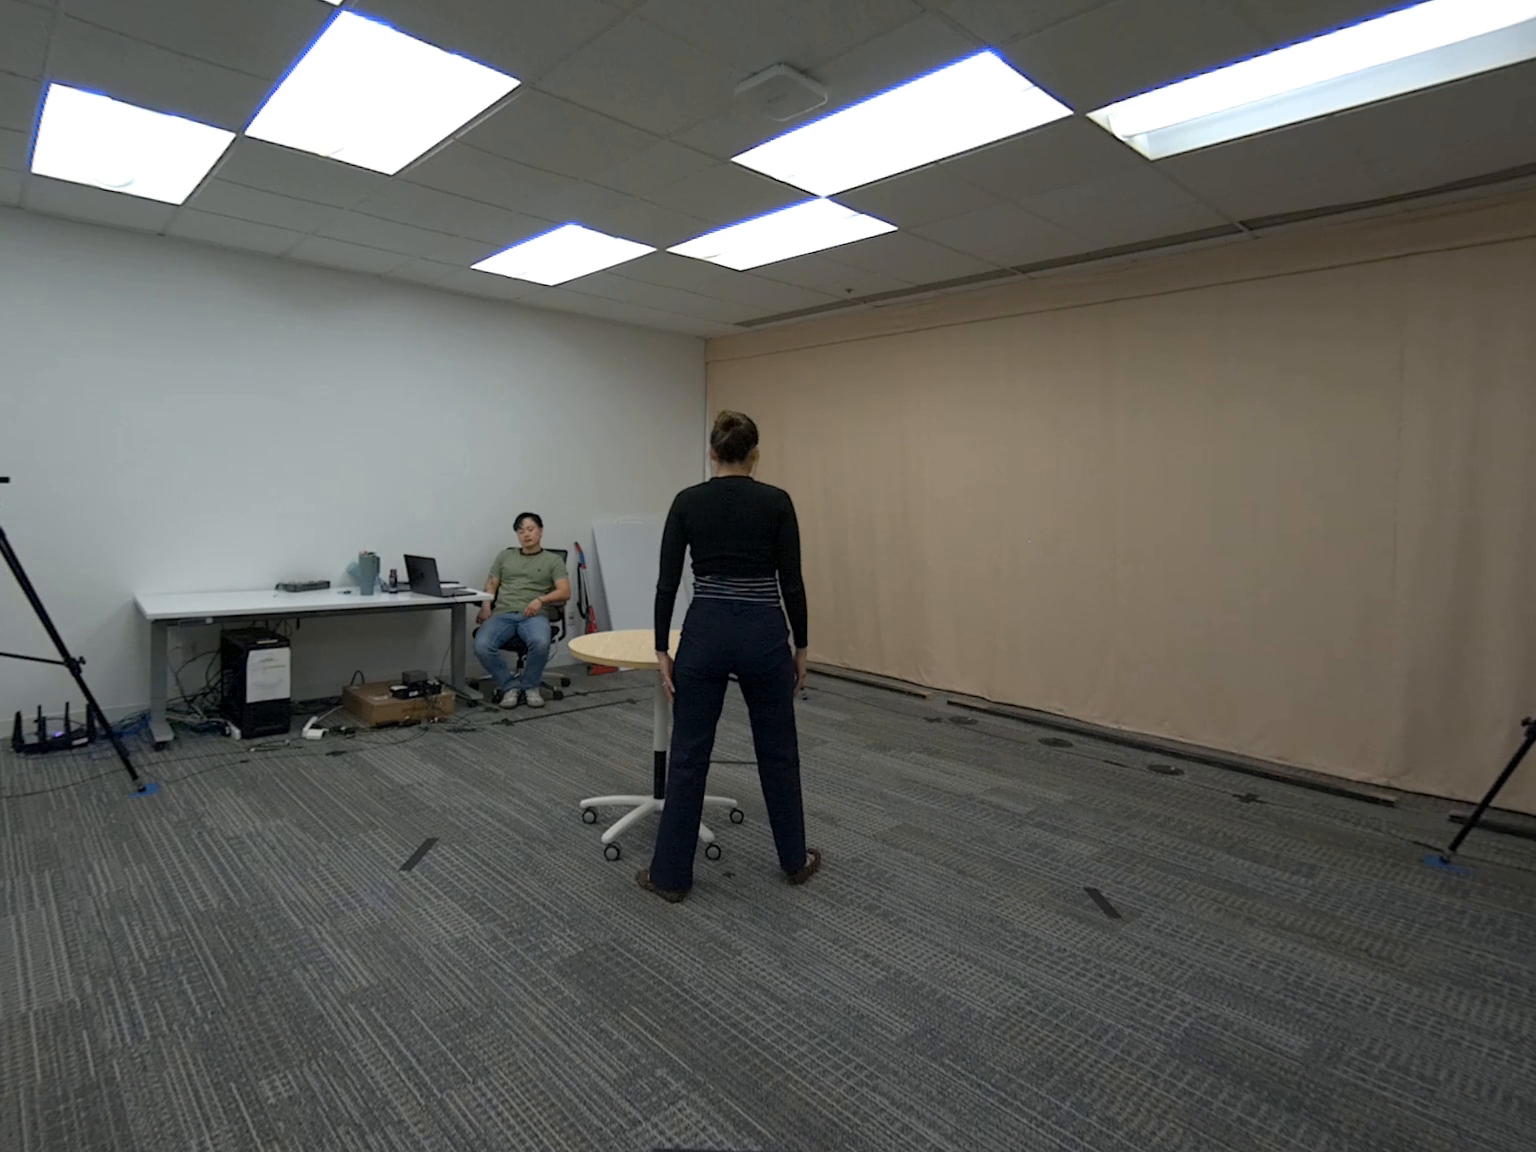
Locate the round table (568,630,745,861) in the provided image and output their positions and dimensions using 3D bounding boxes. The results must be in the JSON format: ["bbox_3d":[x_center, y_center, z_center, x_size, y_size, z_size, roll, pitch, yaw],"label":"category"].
[{"bbox_3d":[-0.449,0.676,3.487,0.763,0.792,0.766,1,4,-1],"label":"round table"}]
